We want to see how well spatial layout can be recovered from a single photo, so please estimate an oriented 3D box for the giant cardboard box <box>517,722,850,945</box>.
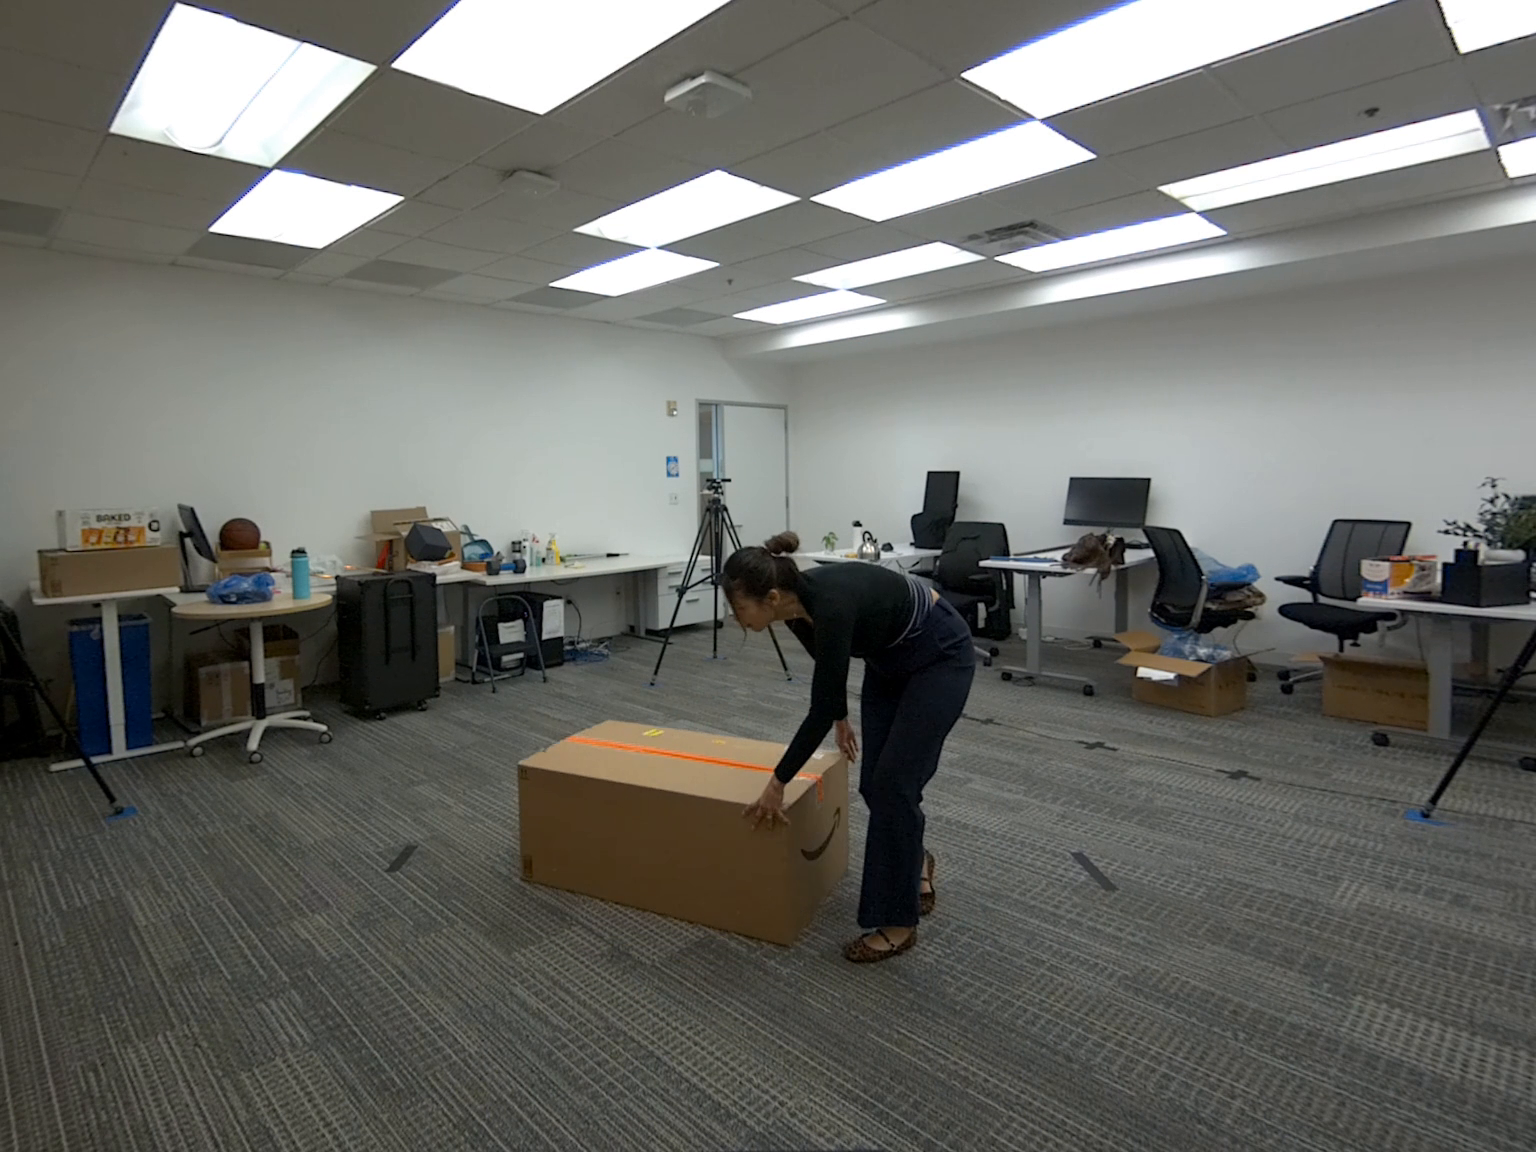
[{"bbox_3d":[-0.289,0.844,3.016,1.051,0.424,0.566,2,6,26],"label":"giant cardboard box"}]
